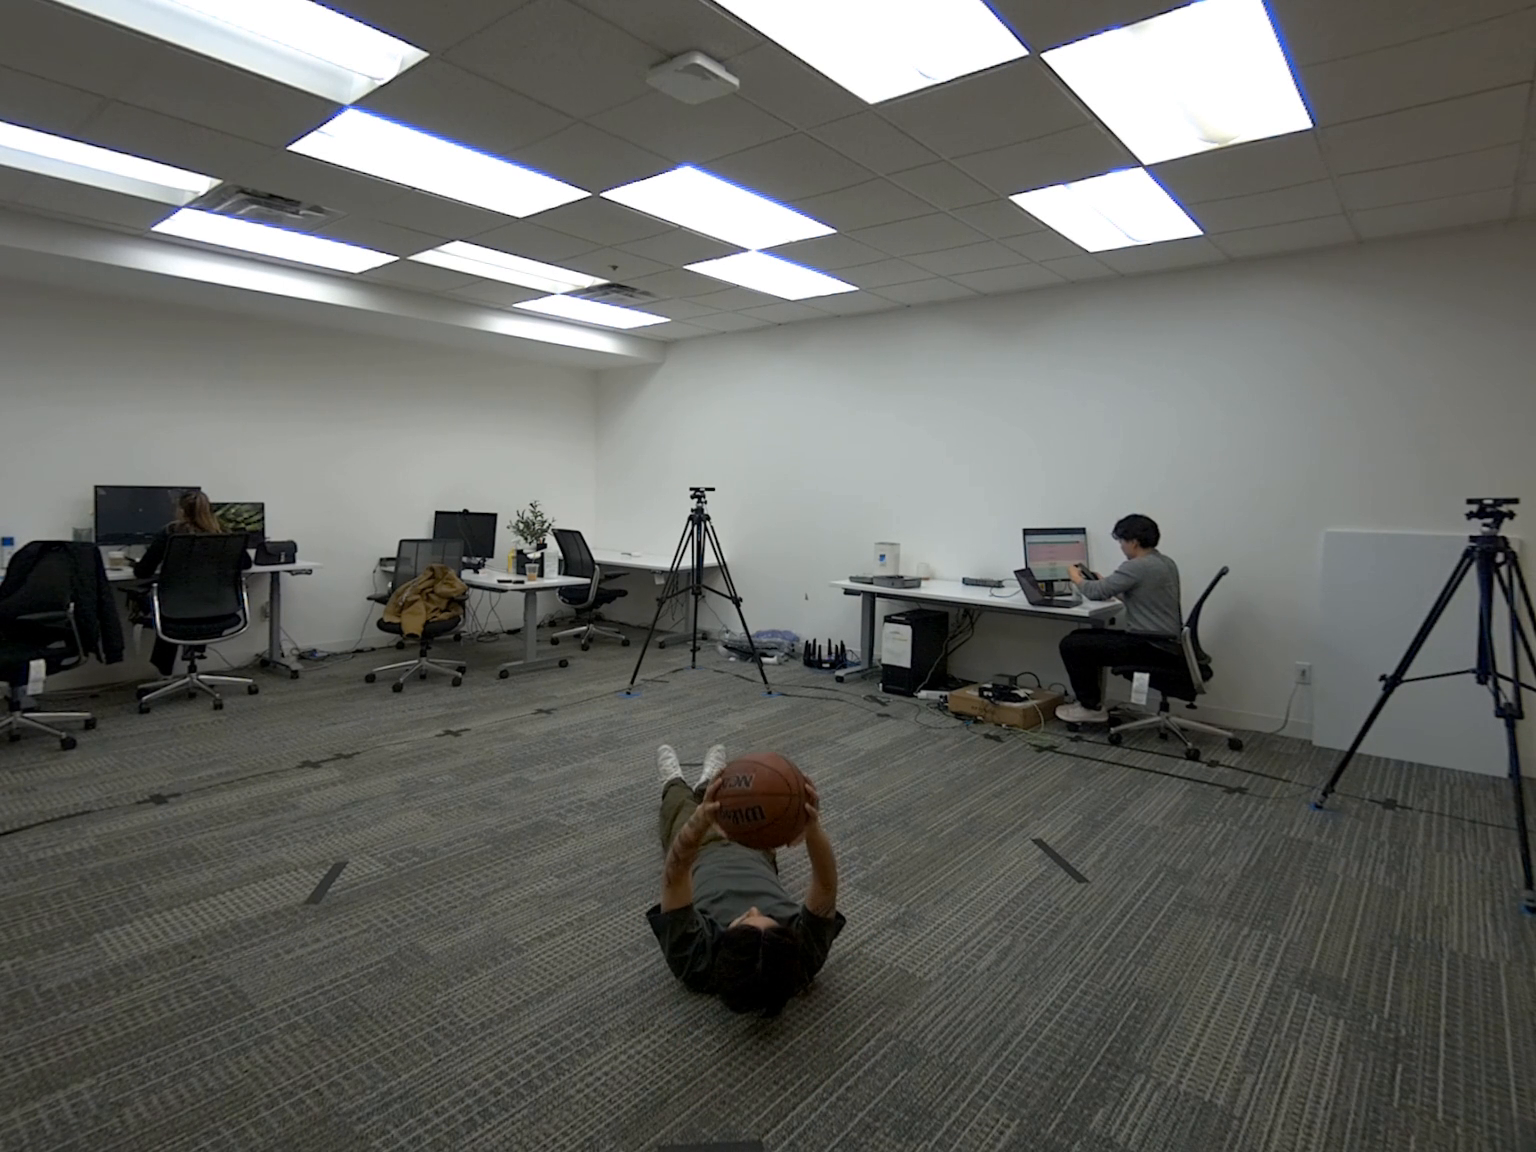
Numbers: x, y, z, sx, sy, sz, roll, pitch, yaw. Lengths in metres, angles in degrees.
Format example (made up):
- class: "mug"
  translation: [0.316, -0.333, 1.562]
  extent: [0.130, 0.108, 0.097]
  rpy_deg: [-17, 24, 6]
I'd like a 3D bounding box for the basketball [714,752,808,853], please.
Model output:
- class: "basketball"
  translation: [-0.026, 0.558, 2.135]
  extent: [0.235, 0.235, 0.237]
  rpy_deg: [1, 4, -2]
